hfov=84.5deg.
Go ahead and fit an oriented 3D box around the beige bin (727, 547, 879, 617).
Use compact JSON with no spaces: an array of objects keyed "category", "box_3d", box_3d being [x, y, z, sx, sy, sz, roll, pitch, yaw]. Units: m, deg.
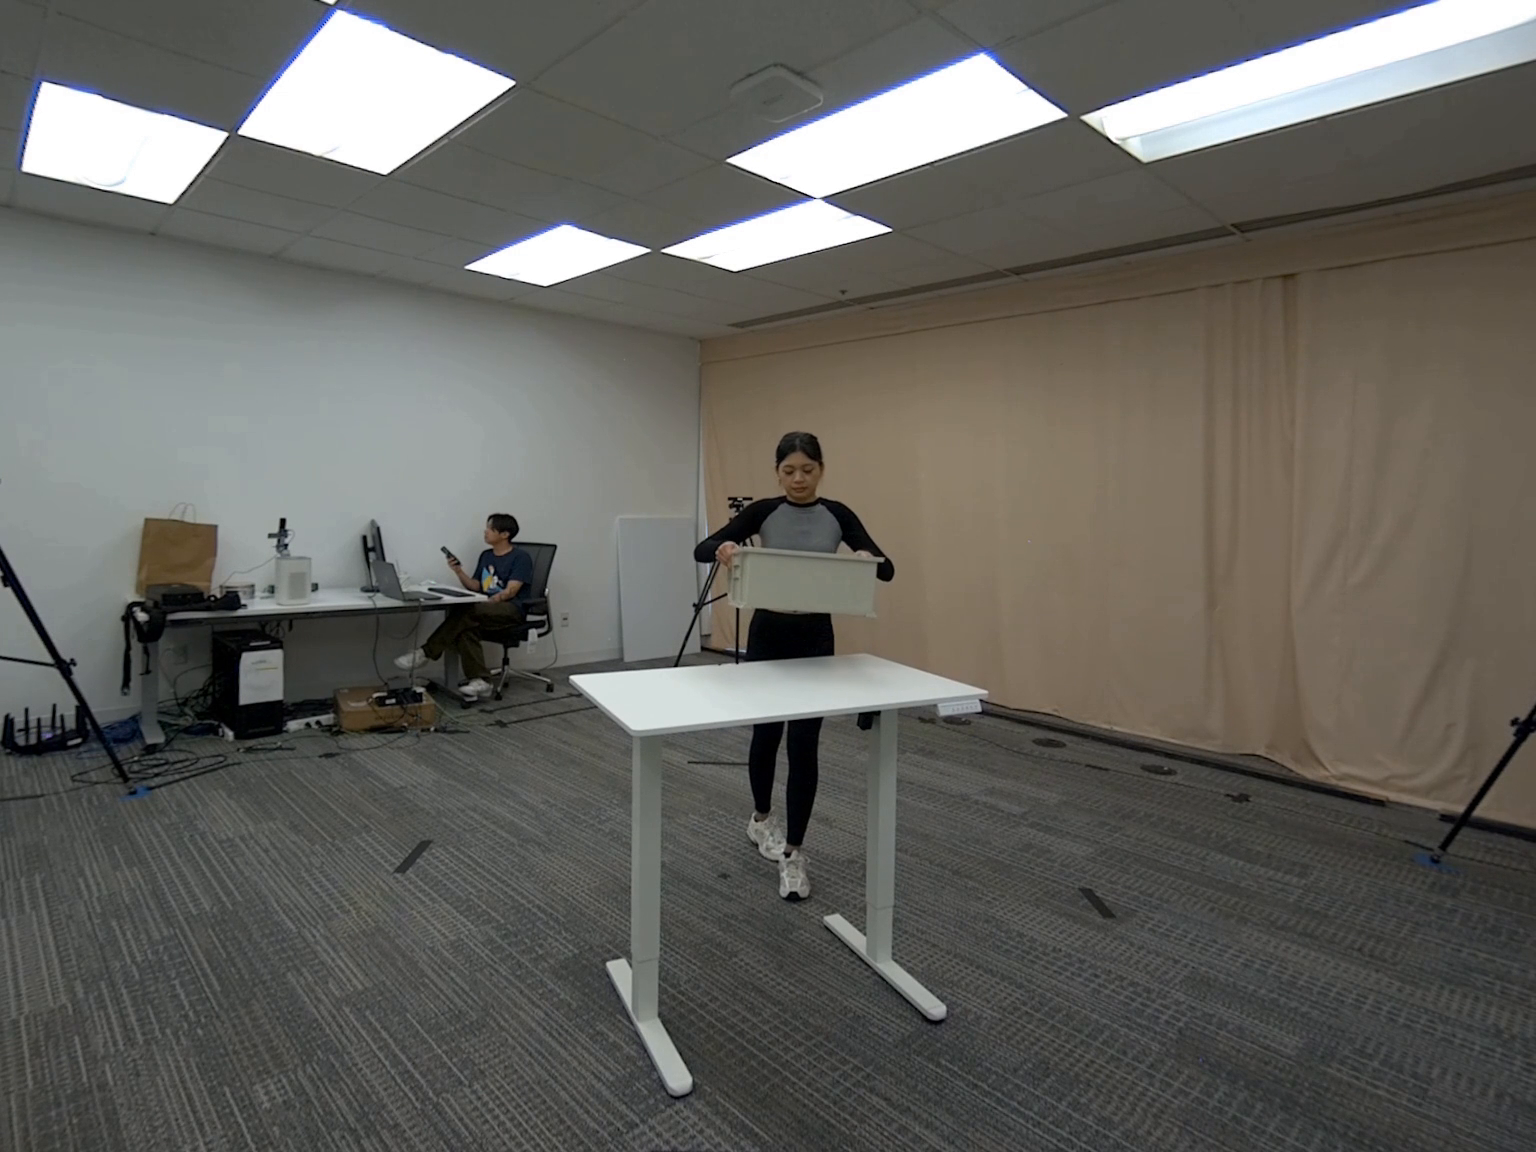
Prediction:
[{"category":"beige bin","box_3d":[0.086,0.016,2.651,0.419,0.189,0.381,4,3,-10]}]
